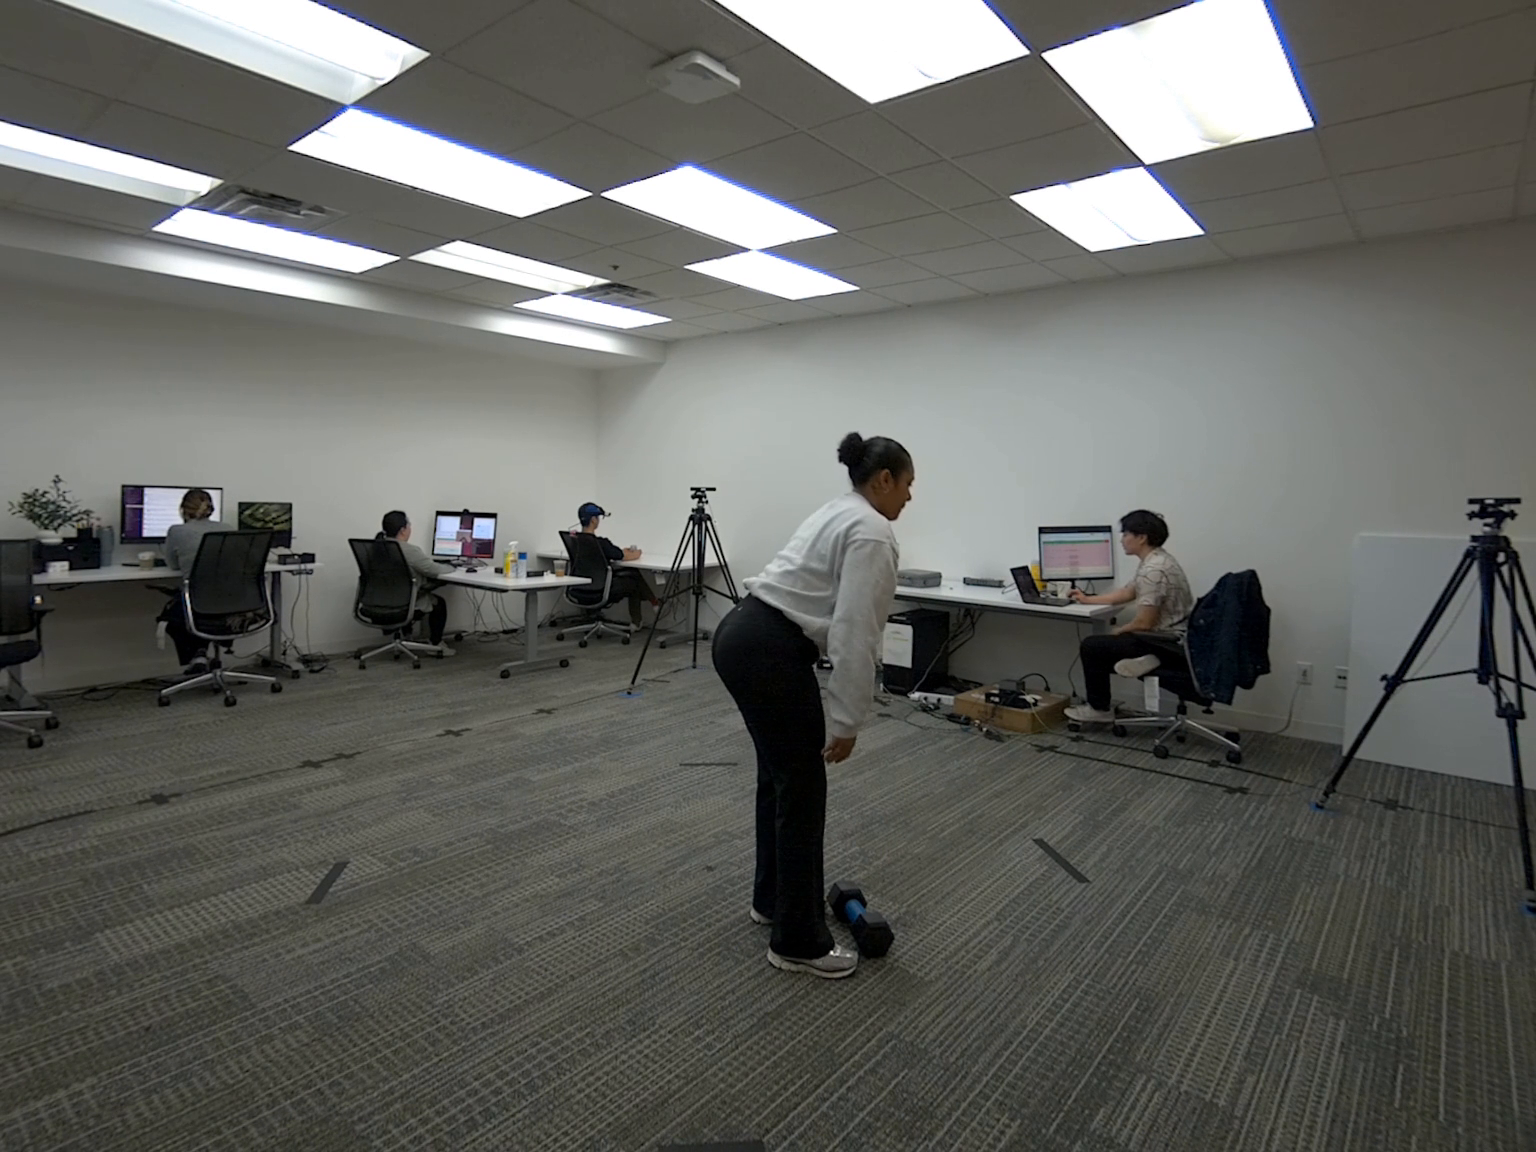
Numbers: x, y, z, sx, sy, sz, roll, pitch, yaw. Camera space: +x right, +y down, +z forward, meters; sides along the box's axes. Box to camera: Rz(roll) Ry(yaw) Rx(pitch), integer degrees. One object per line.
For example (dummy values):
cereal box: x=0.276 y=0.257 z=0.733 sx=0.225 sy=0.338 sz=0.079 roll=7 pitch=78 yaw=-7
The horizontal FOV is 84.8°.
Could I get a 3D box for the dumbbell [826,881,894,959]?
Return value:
dumbbell: x=0.277 y=1.074 z=2.660 sx=0.108 sy=0.121 sz=0.299 roll=-31 pitch=13 yaw=-11
